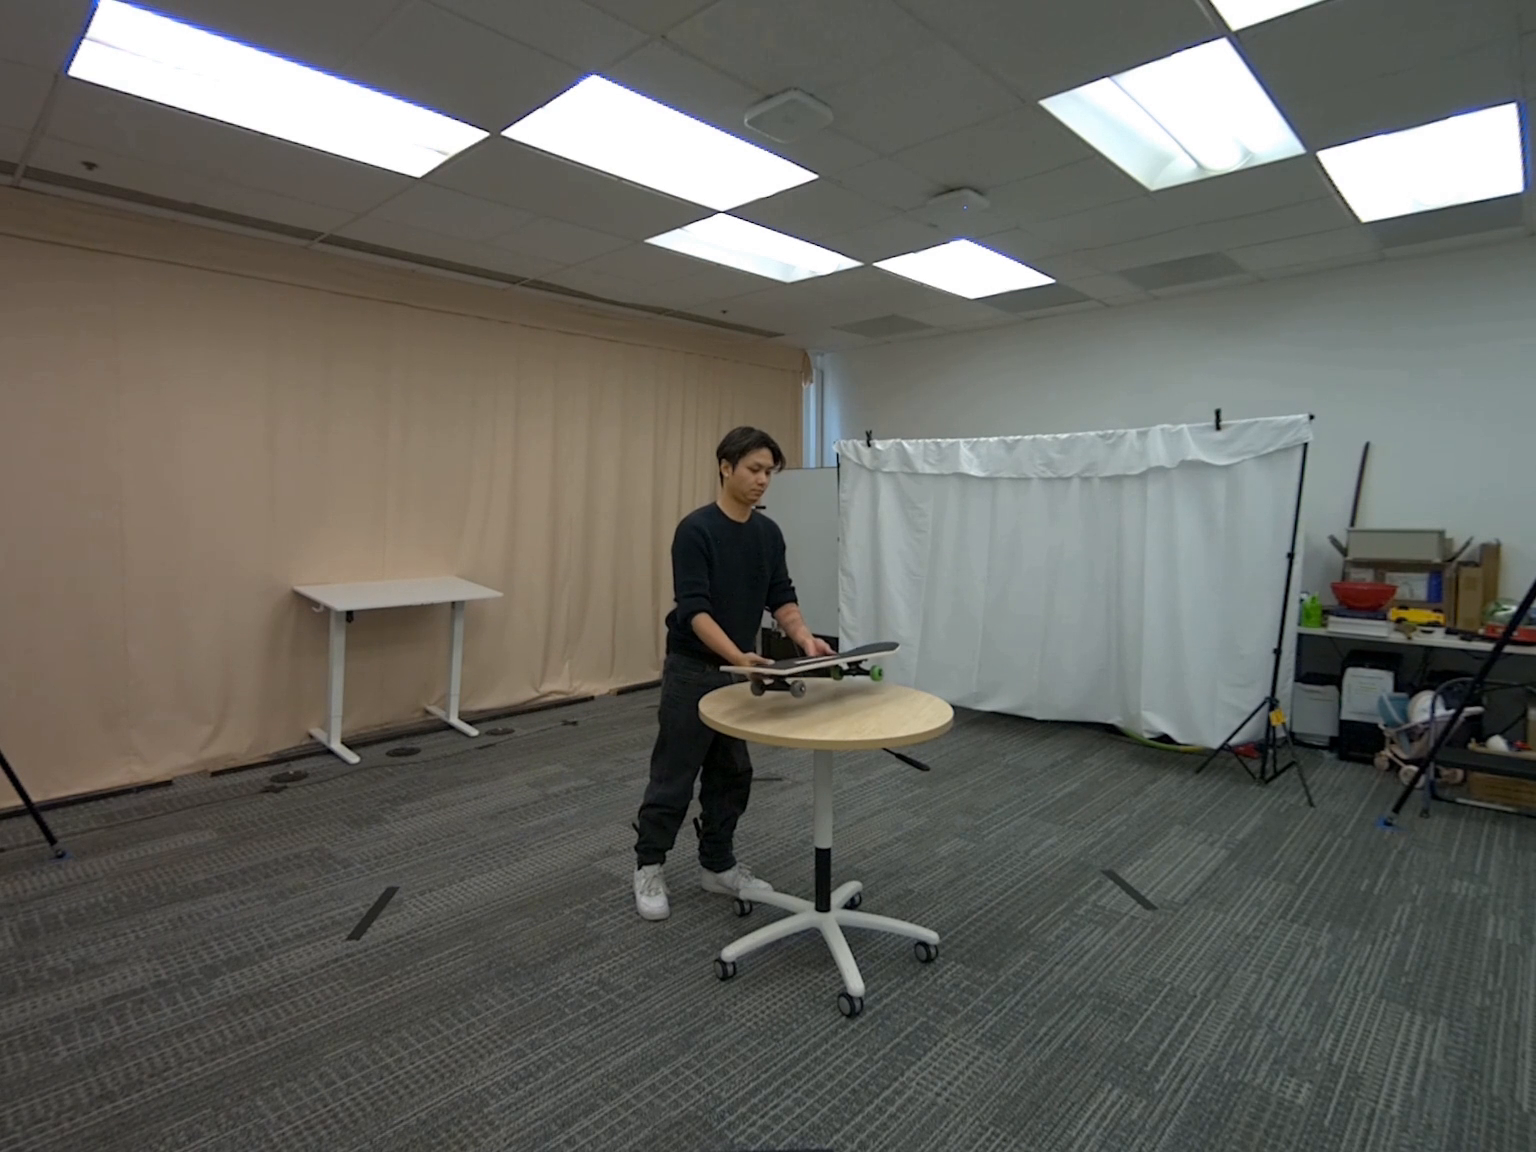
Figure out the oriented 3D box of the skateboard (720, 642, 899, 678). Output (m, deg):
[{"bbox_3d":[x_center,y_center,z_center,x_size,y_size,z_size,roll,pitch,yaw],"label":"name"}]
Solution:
[{"bbox_3d":[0.142,0.300,2.604,0.199,0.110,0.761,-5,-1,44],"label":"skateboard"}]
